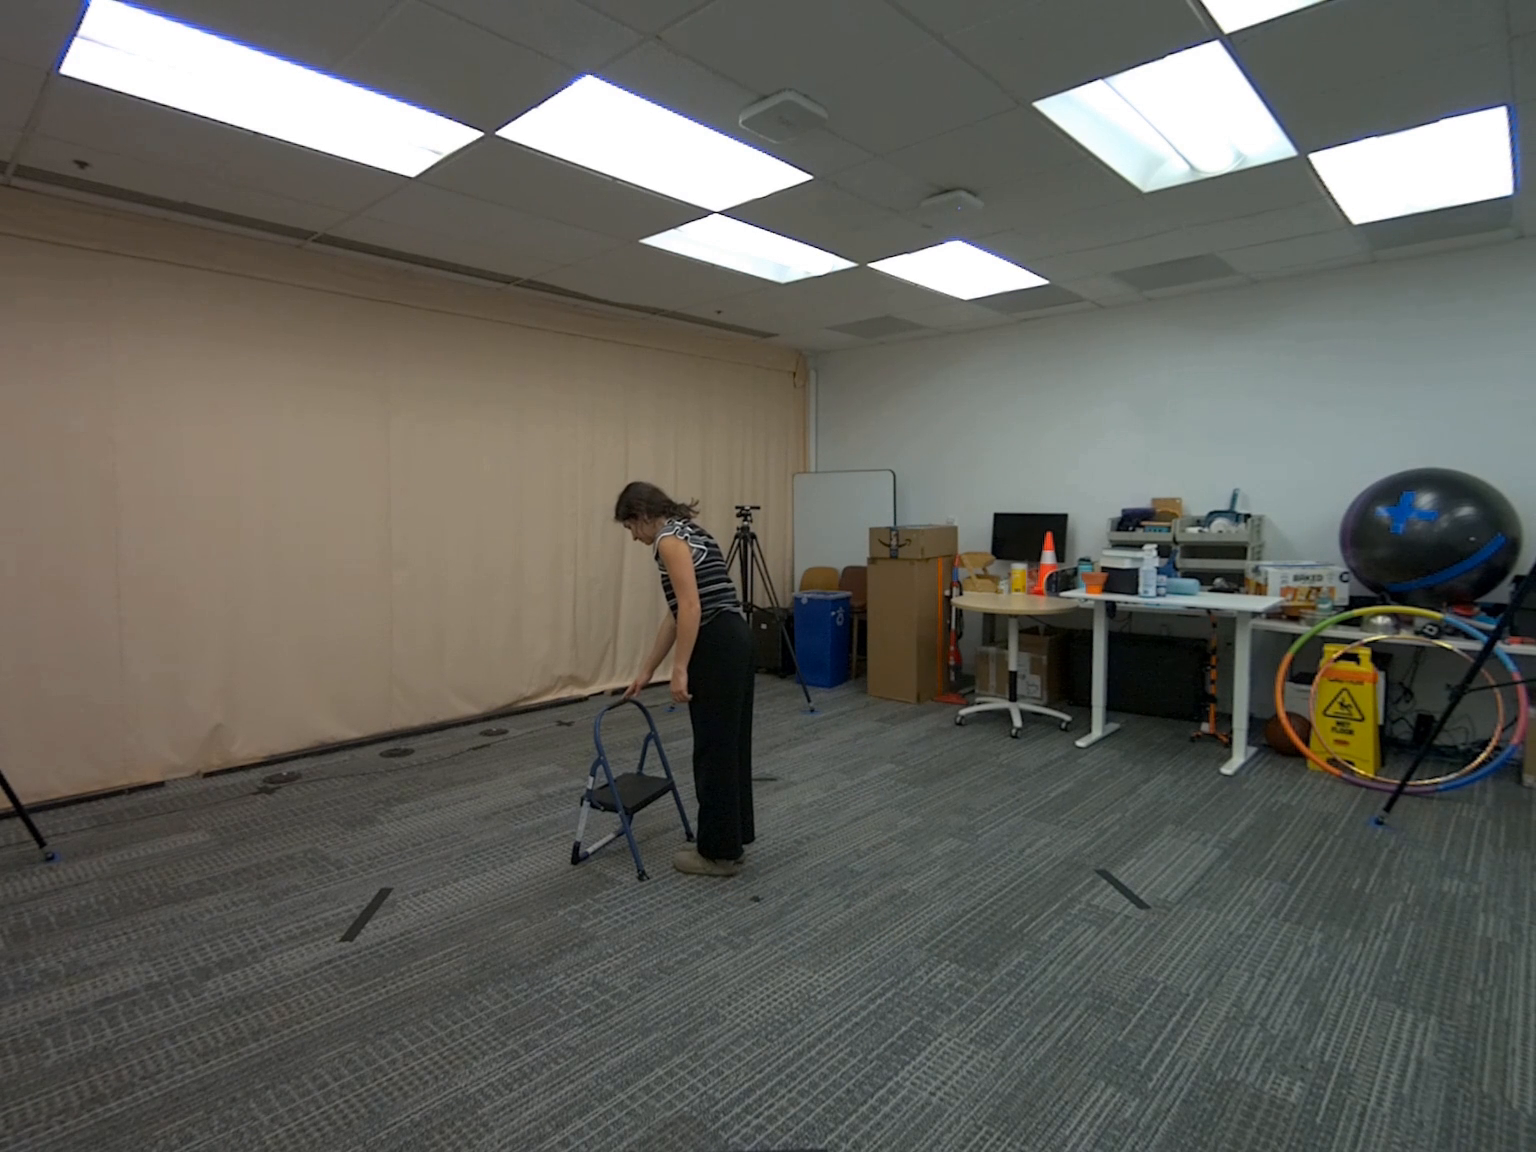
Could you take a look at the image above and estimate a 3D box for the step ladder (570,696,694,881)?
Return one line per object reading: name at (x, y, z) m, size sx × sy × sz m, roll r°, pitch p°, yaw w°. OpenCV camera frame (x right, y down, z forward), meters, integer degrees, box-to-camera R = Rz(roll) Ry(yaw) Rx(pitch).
step ladder at (-0.541, 0.815, 3.385) m, size 0.358 × 0.605 × 0.421 m, roll 1°, pitch 3°, yaw 24°
